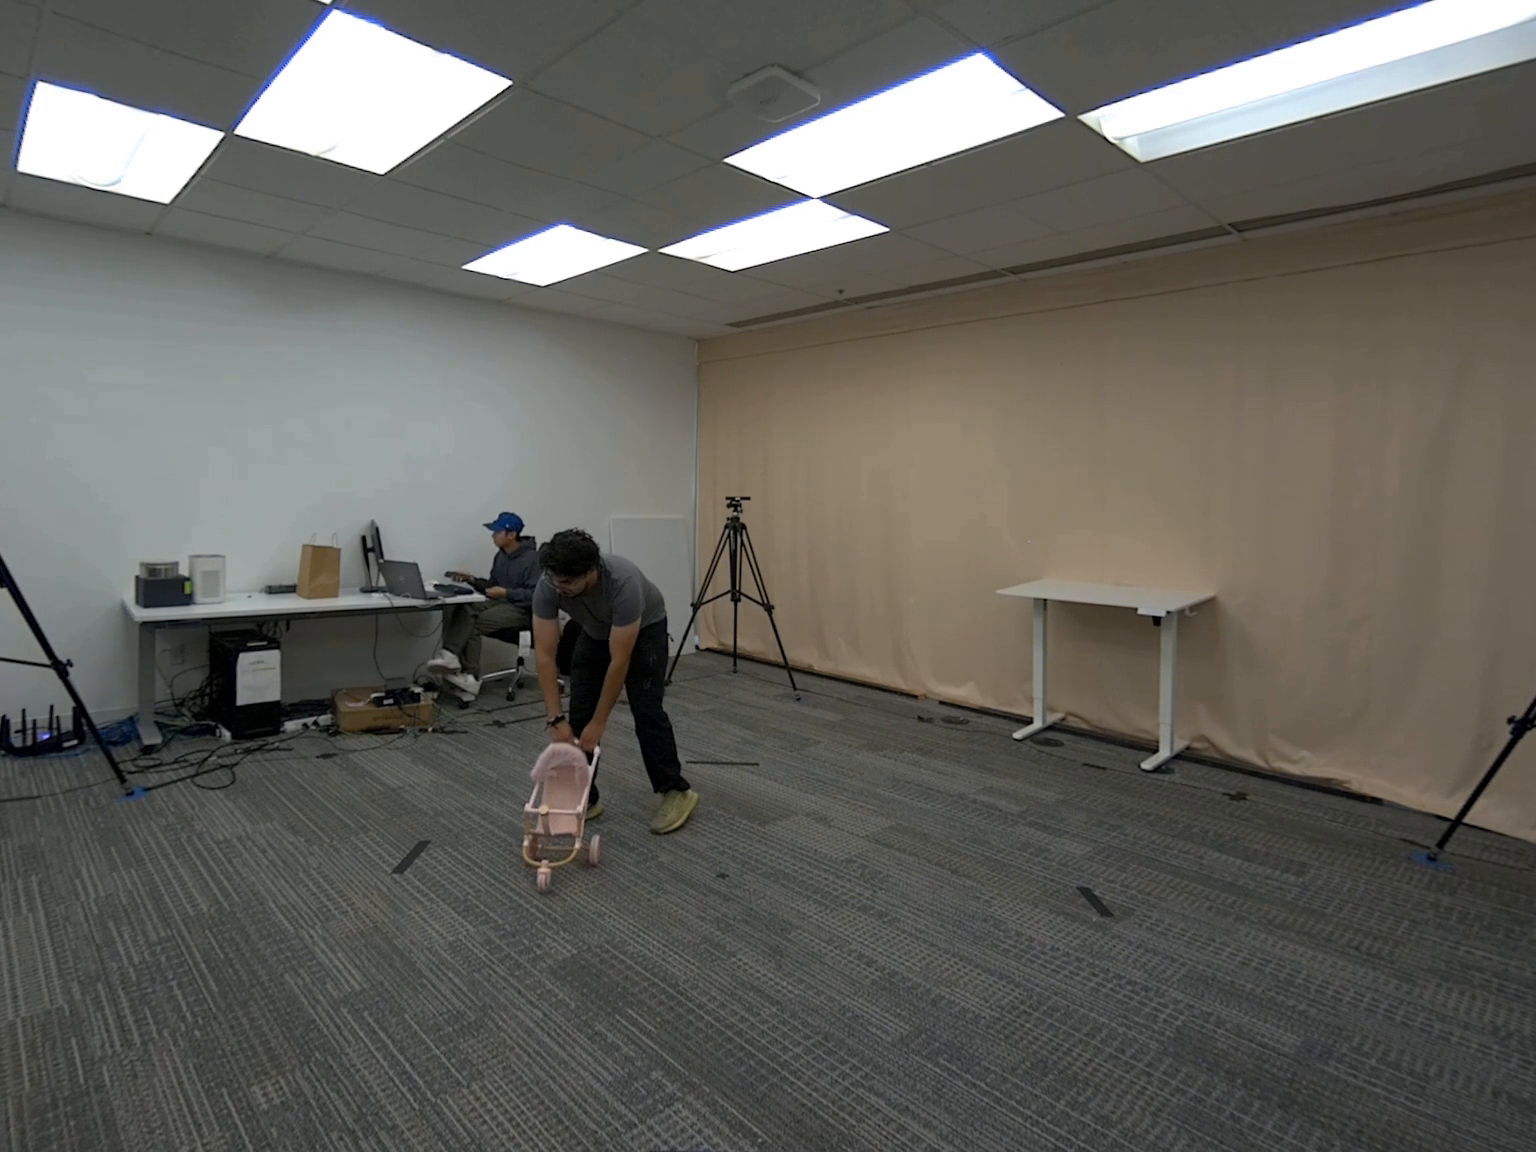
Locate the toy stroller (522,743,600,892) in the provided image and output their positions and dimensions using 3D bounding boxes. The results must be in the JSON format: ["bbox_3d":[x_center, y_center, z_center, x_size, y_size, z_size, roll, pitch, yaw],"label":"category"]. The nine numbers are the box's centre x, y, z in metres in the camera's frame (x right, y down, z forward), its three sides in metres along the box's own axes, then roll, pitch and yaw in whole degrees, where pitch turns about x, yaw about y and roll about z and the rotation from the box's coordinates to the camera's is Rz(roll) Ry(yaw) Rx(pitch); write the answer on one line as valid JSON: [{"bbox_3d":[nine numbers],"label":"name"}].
[{"bbox_3d":[-0.784,0.873,3.120,0.282,0.540,0.336,1,-15,4],"label":"toy stroller"}]
